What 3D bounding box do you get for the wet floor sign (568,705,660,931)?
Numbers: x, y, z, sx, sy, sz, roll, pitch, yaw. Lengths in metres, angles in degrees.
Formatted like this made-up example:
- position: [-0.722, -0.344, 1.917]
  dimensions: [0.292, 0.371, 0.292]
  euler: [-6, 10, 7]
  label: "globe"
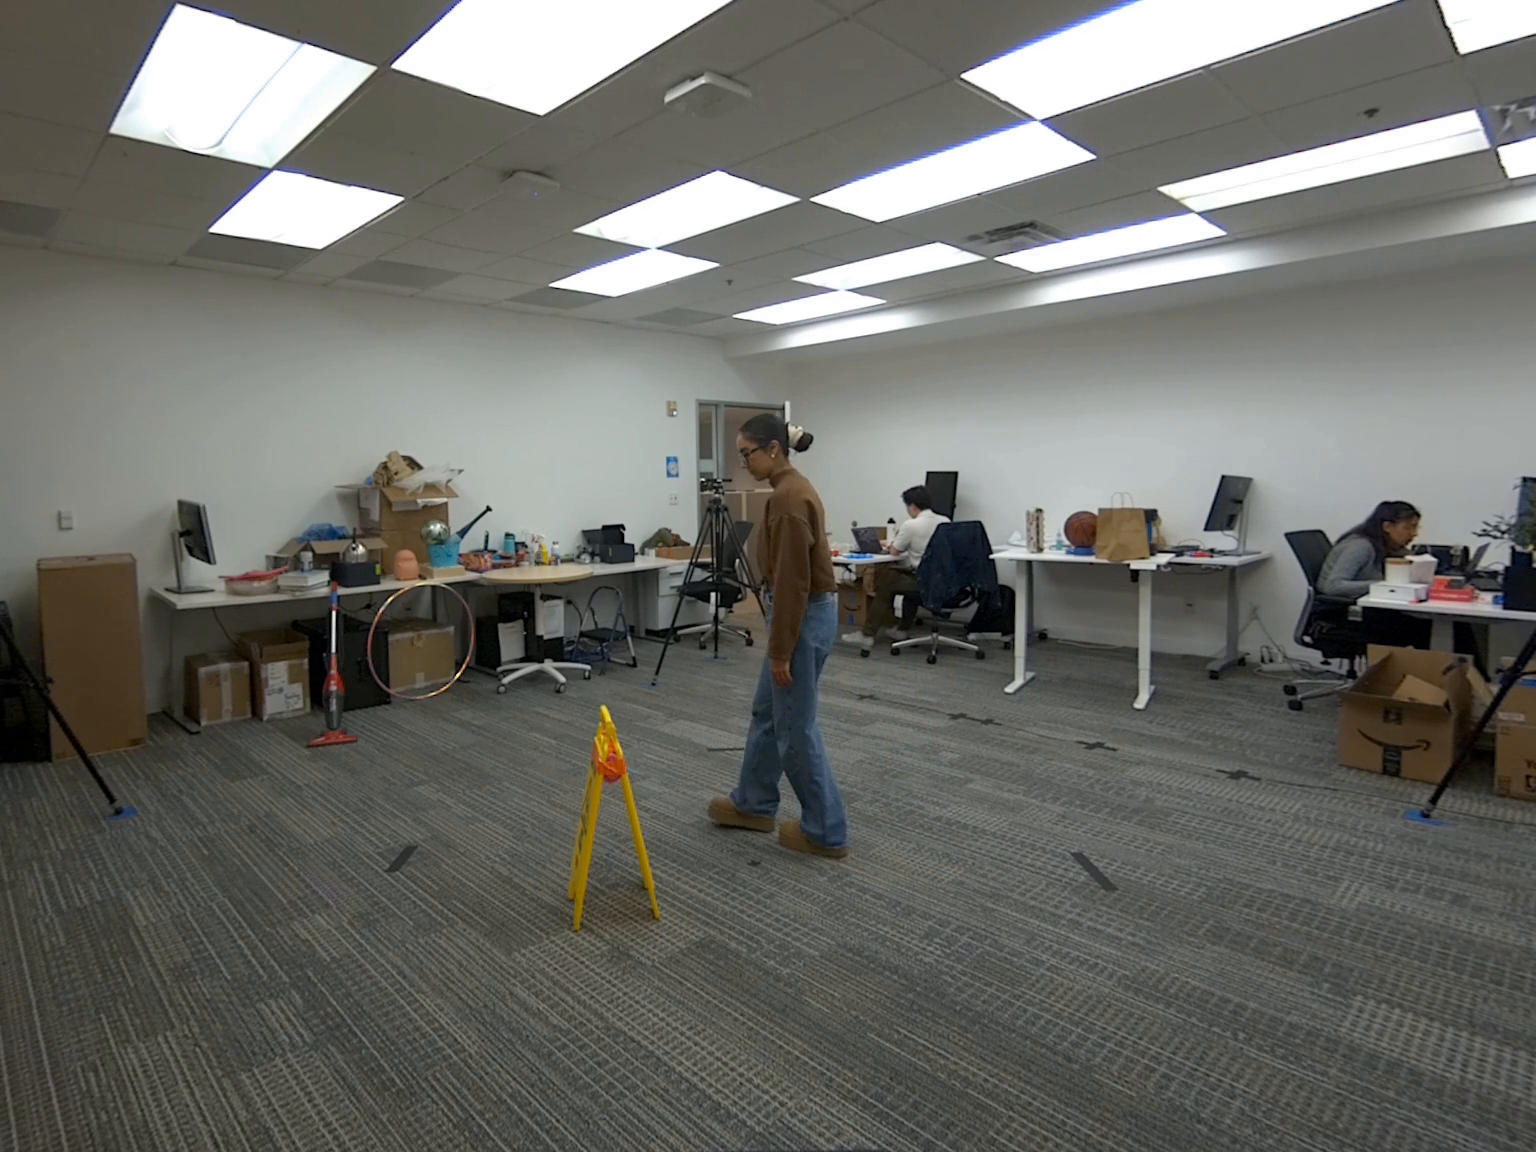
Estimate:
- position: [-0.517, 0.763, 2.802]
  dimensions: [0.286, 0.644, 0.287]
  euler: [-2, 3, -15]
  label: "wet floor sign"
